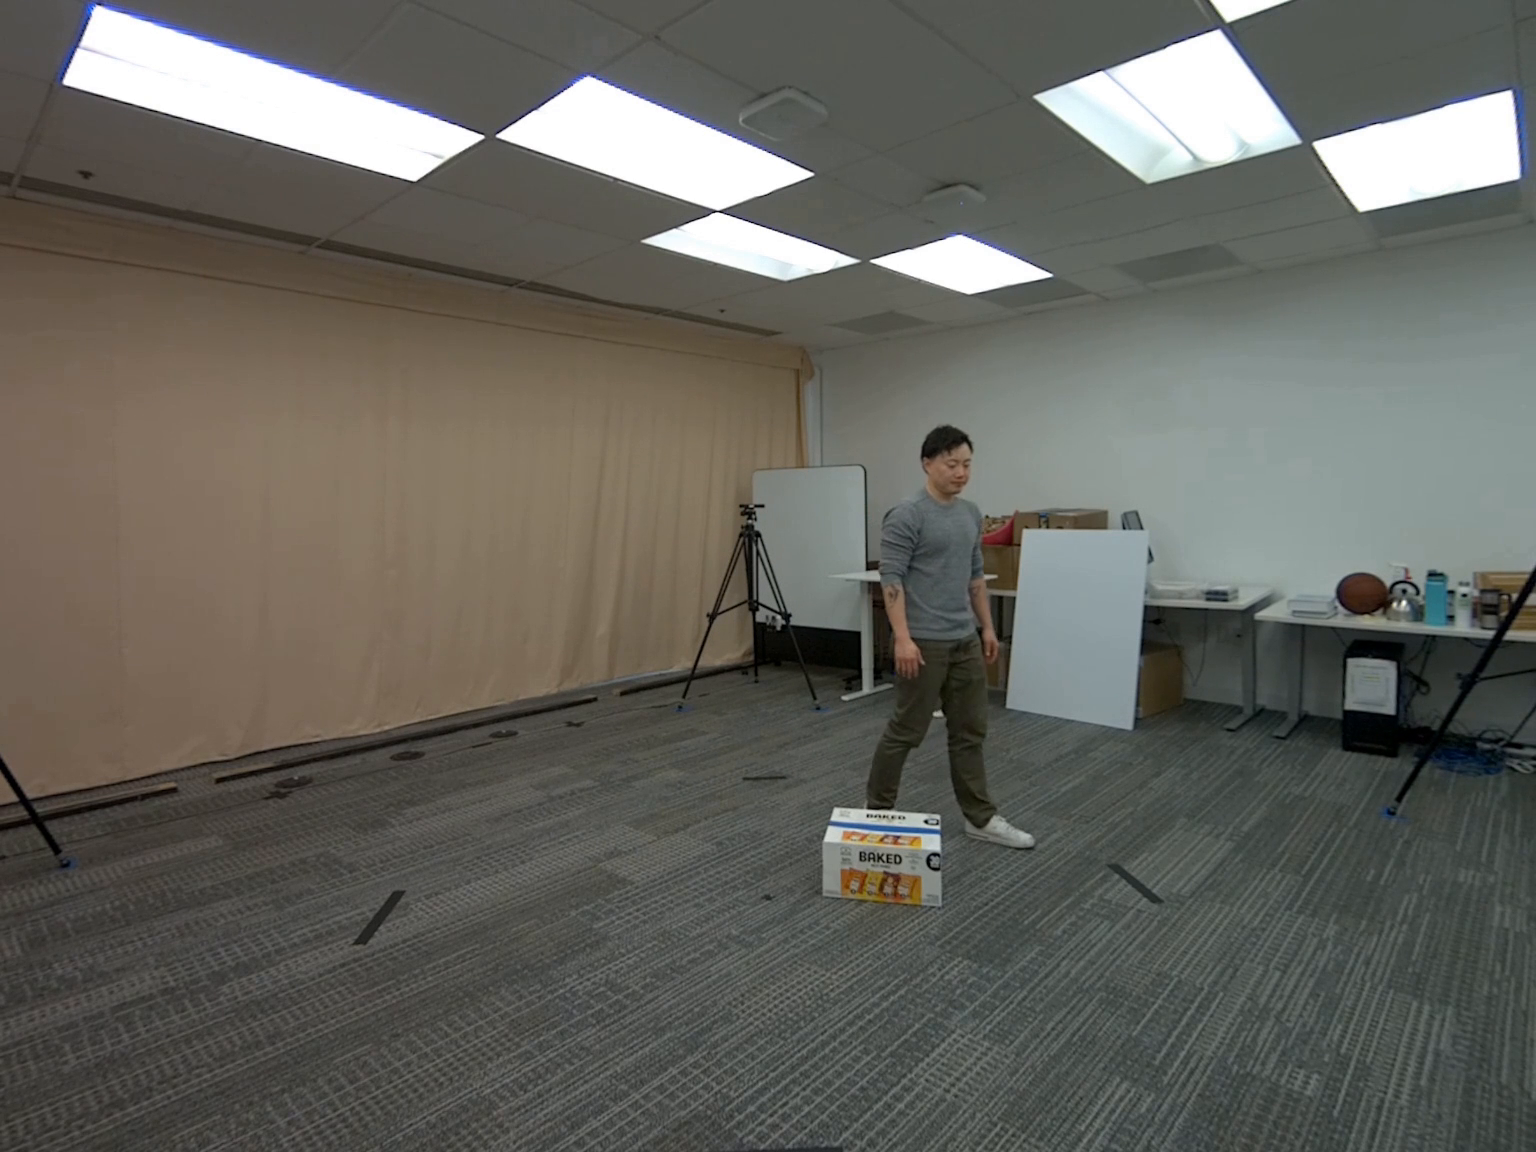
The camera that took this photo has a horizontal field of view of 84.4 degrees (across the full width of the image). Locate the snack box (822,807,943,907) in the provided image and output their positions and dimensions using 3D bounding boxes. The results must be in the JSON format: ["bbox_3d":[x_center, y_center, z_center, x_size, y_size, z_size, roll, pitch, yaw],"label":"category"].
[{"bbox_3d":[0.429,1.025,3.092,0.411,0.205,0.336,0,5,13],"label":"snack box"}]
